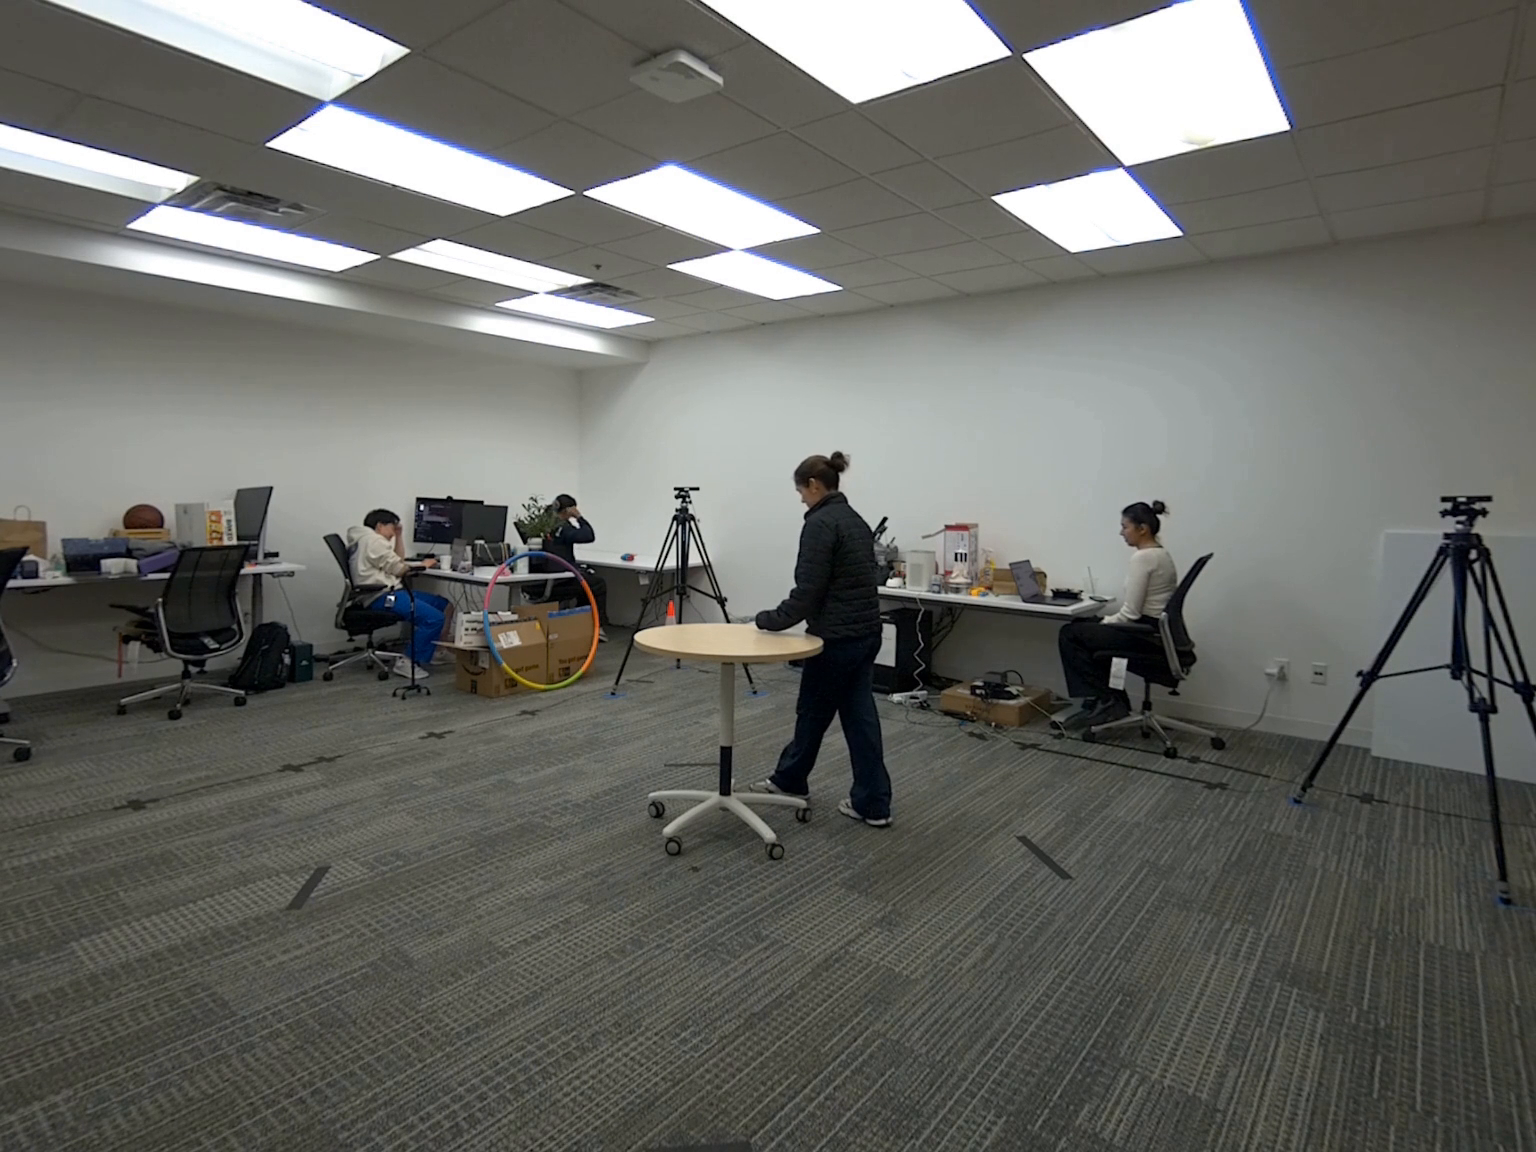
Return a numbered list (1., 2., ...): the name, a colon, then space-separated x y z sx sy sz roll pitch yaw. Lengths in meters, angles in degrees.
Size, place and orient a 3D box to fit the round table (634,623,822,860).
1. round table: -0.168 0.635 3.471 0.784 0.784 0.788 1 4 -2
